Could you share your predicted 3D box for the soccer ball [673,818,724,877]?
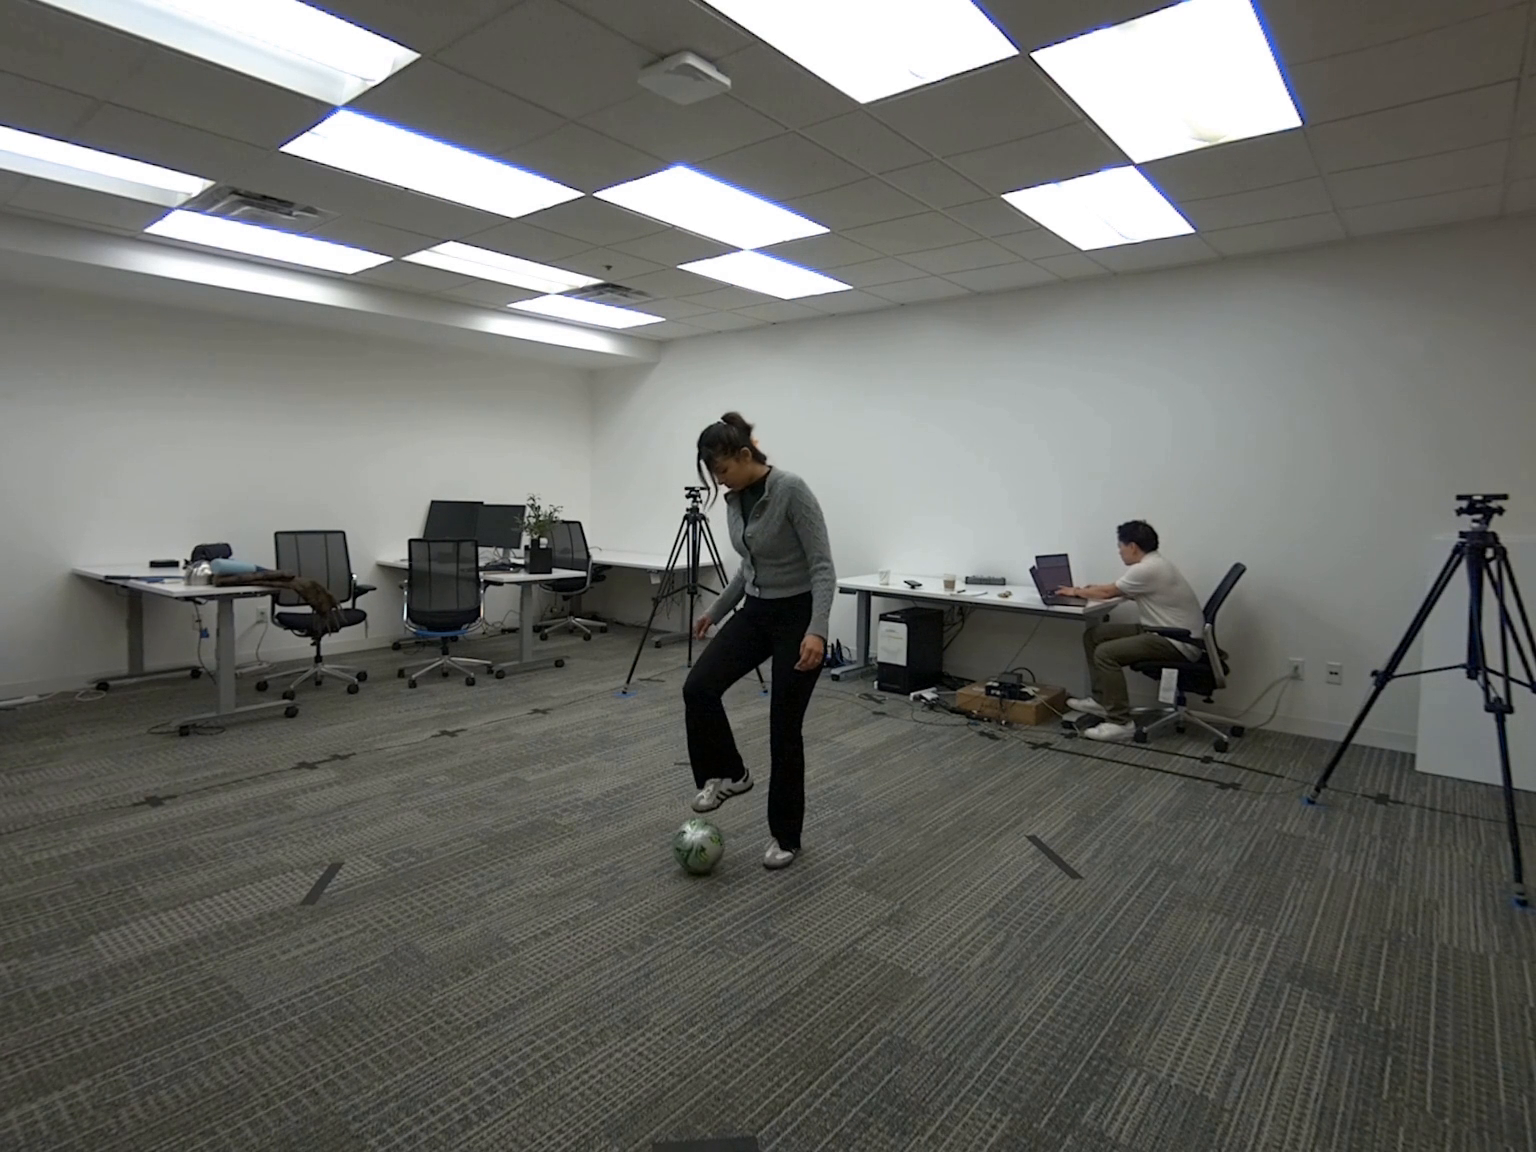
[{"bbox_3d":[-0.263,0.971,3.071,0.187,0.187,0.188,1,4,-2],"label":"soccer ball"}]
